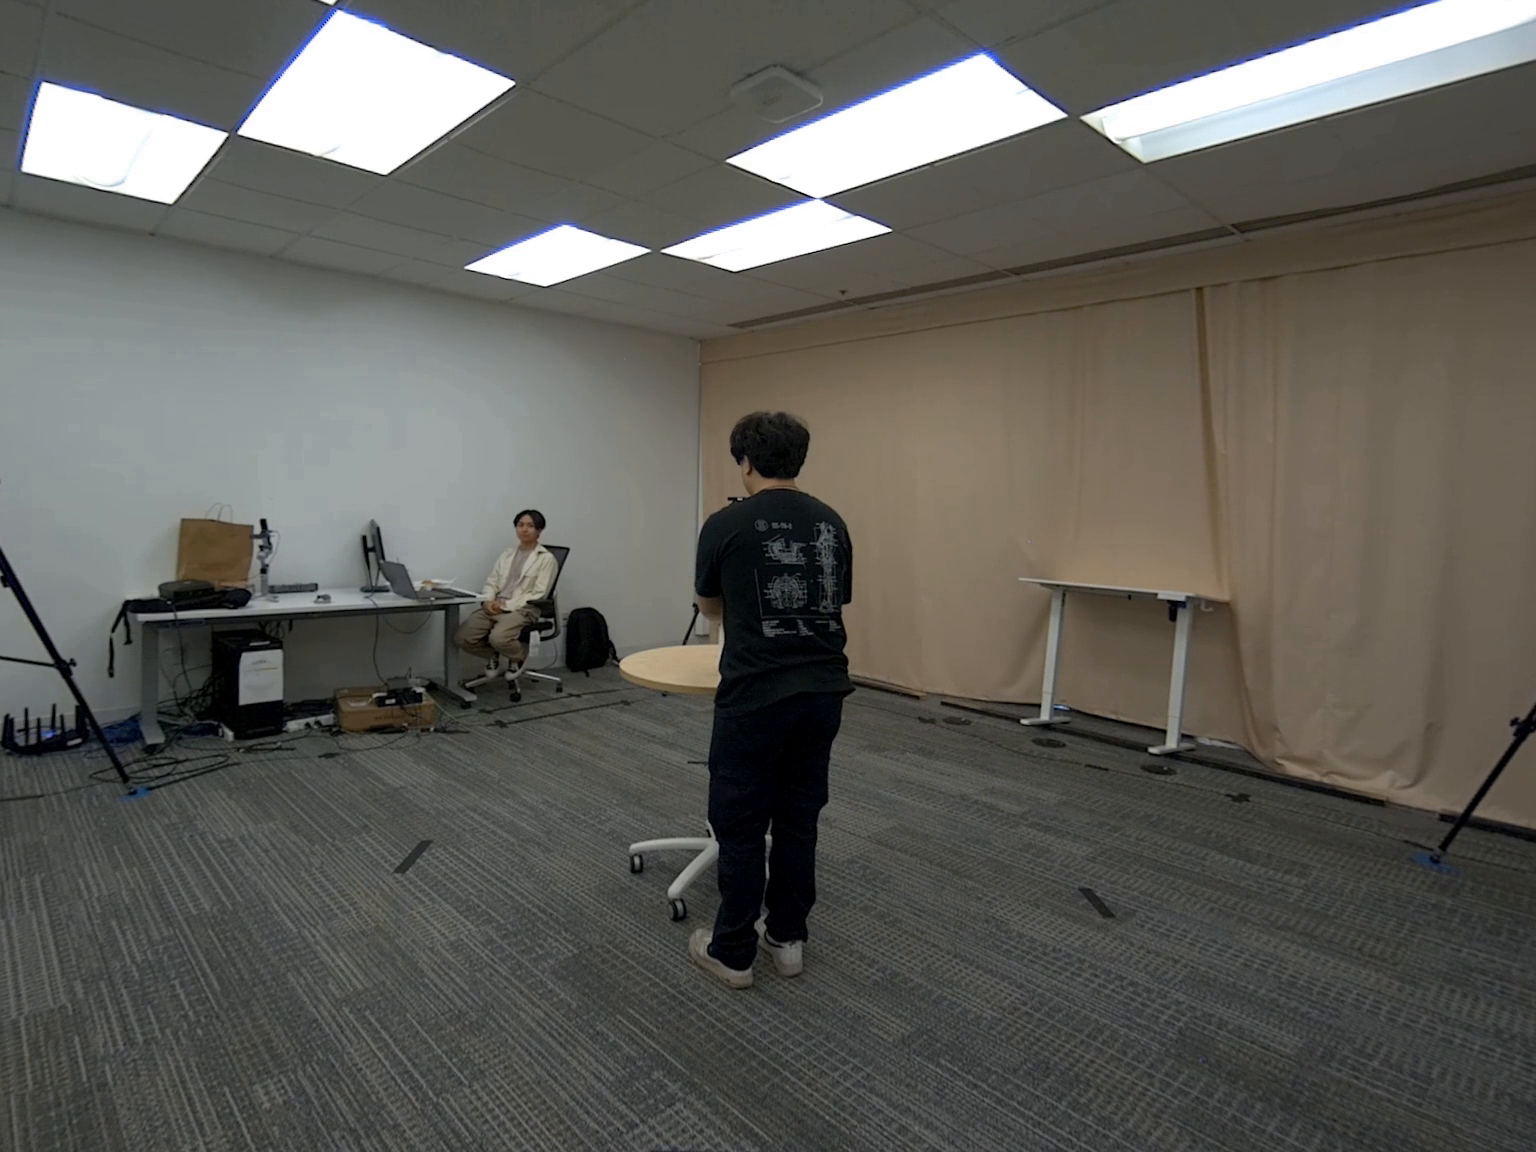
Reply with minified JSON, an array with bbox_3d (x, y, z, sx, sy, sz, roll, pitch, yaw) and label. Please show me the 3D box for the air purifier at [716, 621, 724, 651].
[{"bbox_3d":[-0.091,0.203,2.944,0.171,0.265,0.172,1,2,0],"label":"air purifier"}]
